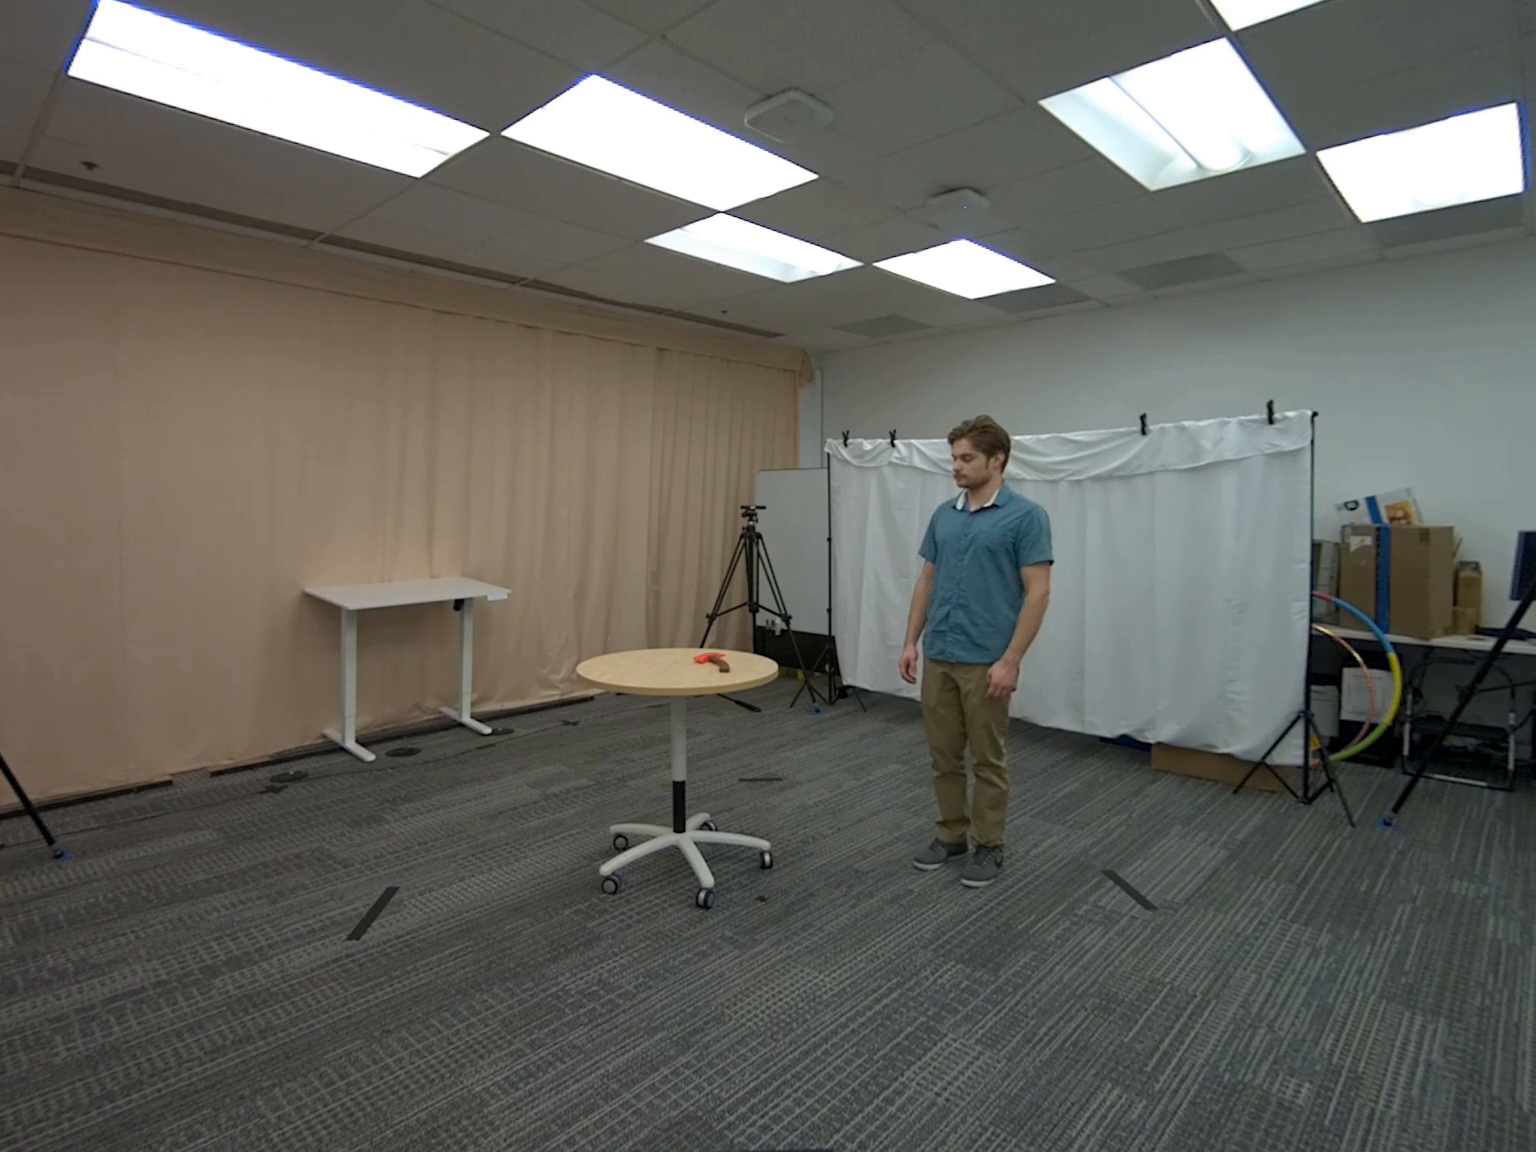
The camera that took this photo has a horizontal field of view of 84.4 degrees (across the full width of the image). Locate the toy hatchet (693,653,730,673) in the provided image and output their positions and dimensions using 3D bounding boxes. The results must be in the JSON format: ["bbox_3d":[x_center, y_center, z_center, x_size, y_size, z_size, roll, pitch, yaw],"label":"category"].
[{"bbox_3d":[-0.212,0.333,3.206,0.130,0.029,0.272,-2,6,-6],"label":"toy hatchet"}]
